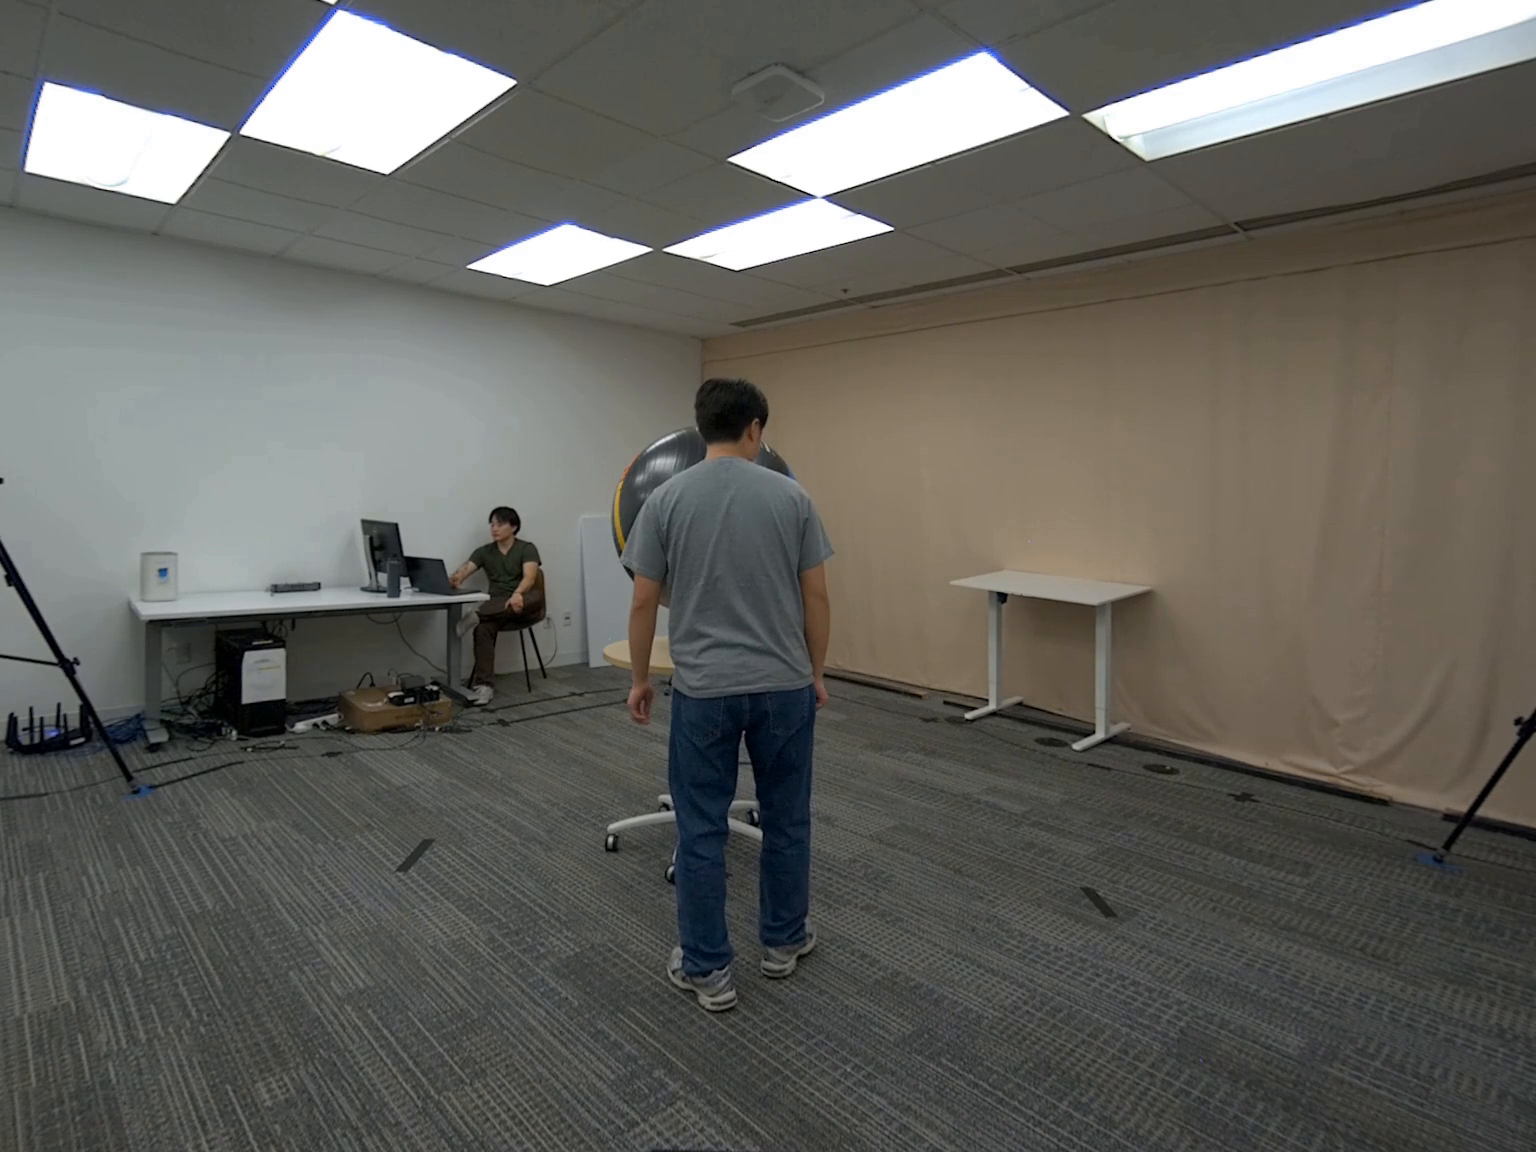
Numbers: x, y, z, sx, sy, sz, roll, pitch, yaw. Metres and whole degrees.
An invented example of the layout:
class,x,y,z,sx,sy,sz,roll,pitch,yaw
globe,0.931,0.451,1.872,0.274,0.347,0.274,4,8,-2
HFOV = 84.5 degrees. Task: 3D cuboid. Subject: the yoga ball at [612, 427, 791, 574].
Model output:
class,x,y,z,sx,sy,sz,roll,pitch,yaw
yoga ball,-0.241,-0.215,3.330,0.757,0.756,0.761,1,4,-1
